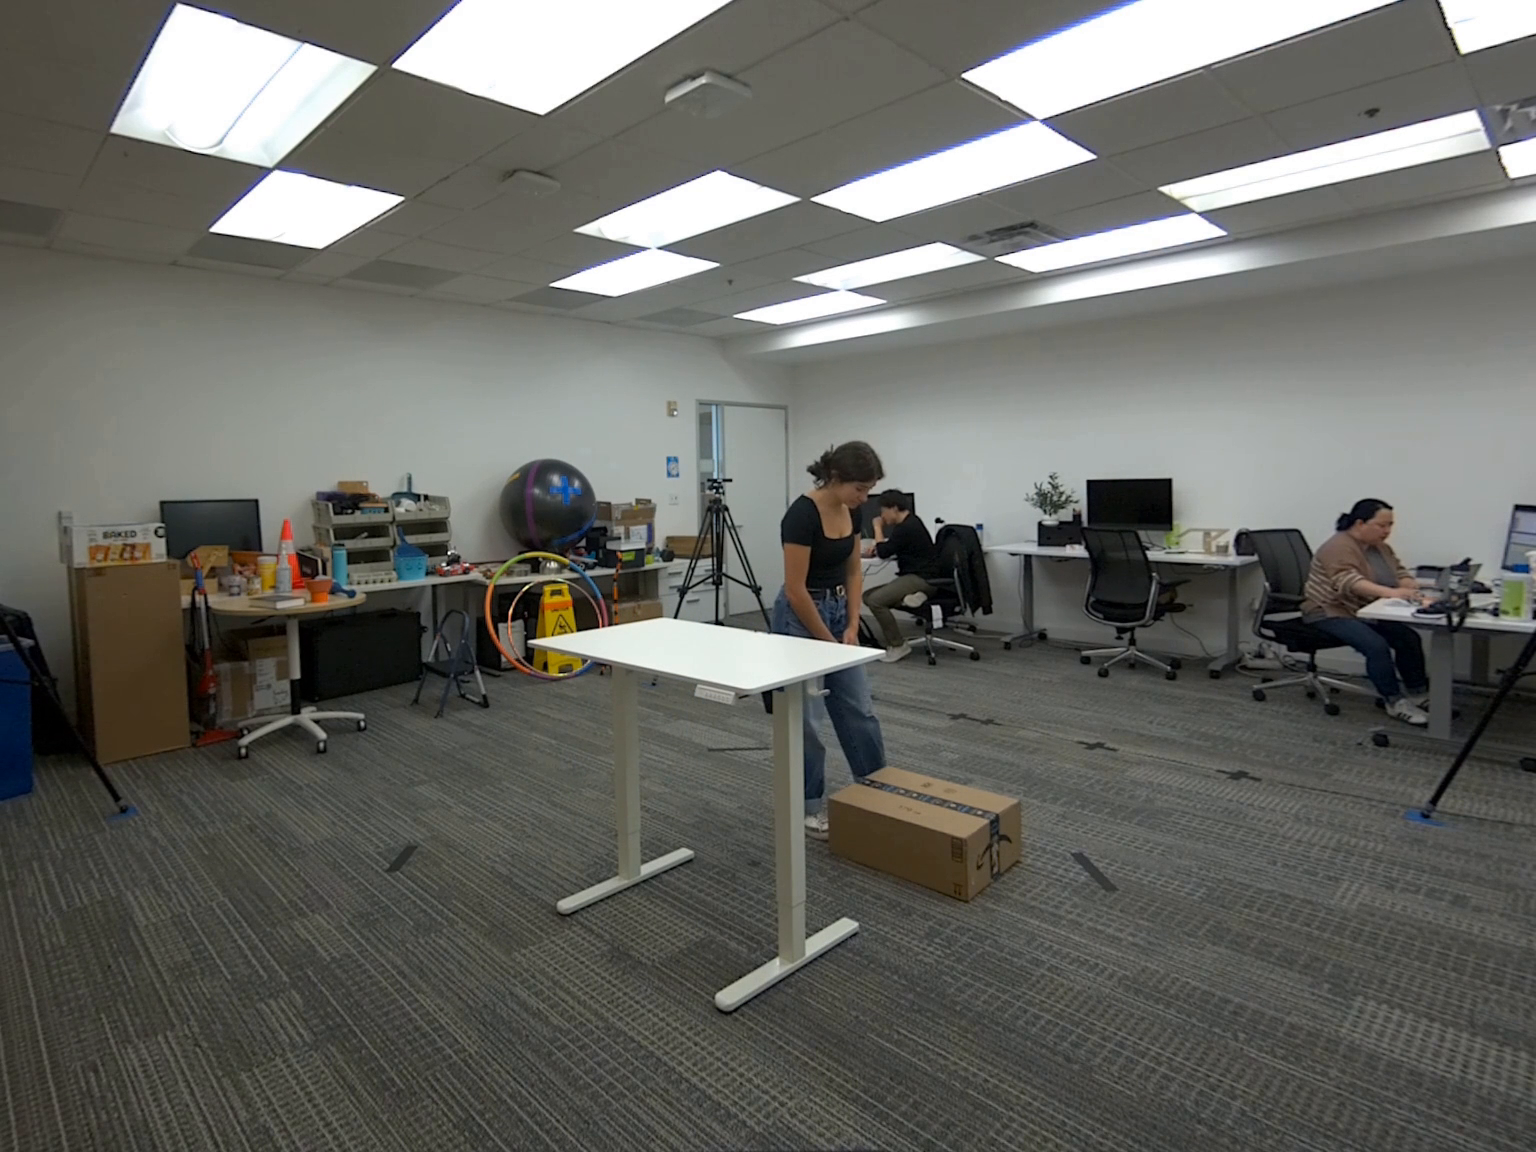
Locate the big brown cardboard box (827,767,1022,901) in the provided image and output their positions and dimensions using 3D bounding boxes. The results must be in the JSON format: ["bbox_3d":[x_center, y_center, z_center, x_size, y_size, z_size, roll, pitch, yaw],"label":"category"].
[{"bbox_3d":[0.576,0.922,3.122,0.607,0.232,0.407,5,9,42],"label":"big brown cardboard box"}]
